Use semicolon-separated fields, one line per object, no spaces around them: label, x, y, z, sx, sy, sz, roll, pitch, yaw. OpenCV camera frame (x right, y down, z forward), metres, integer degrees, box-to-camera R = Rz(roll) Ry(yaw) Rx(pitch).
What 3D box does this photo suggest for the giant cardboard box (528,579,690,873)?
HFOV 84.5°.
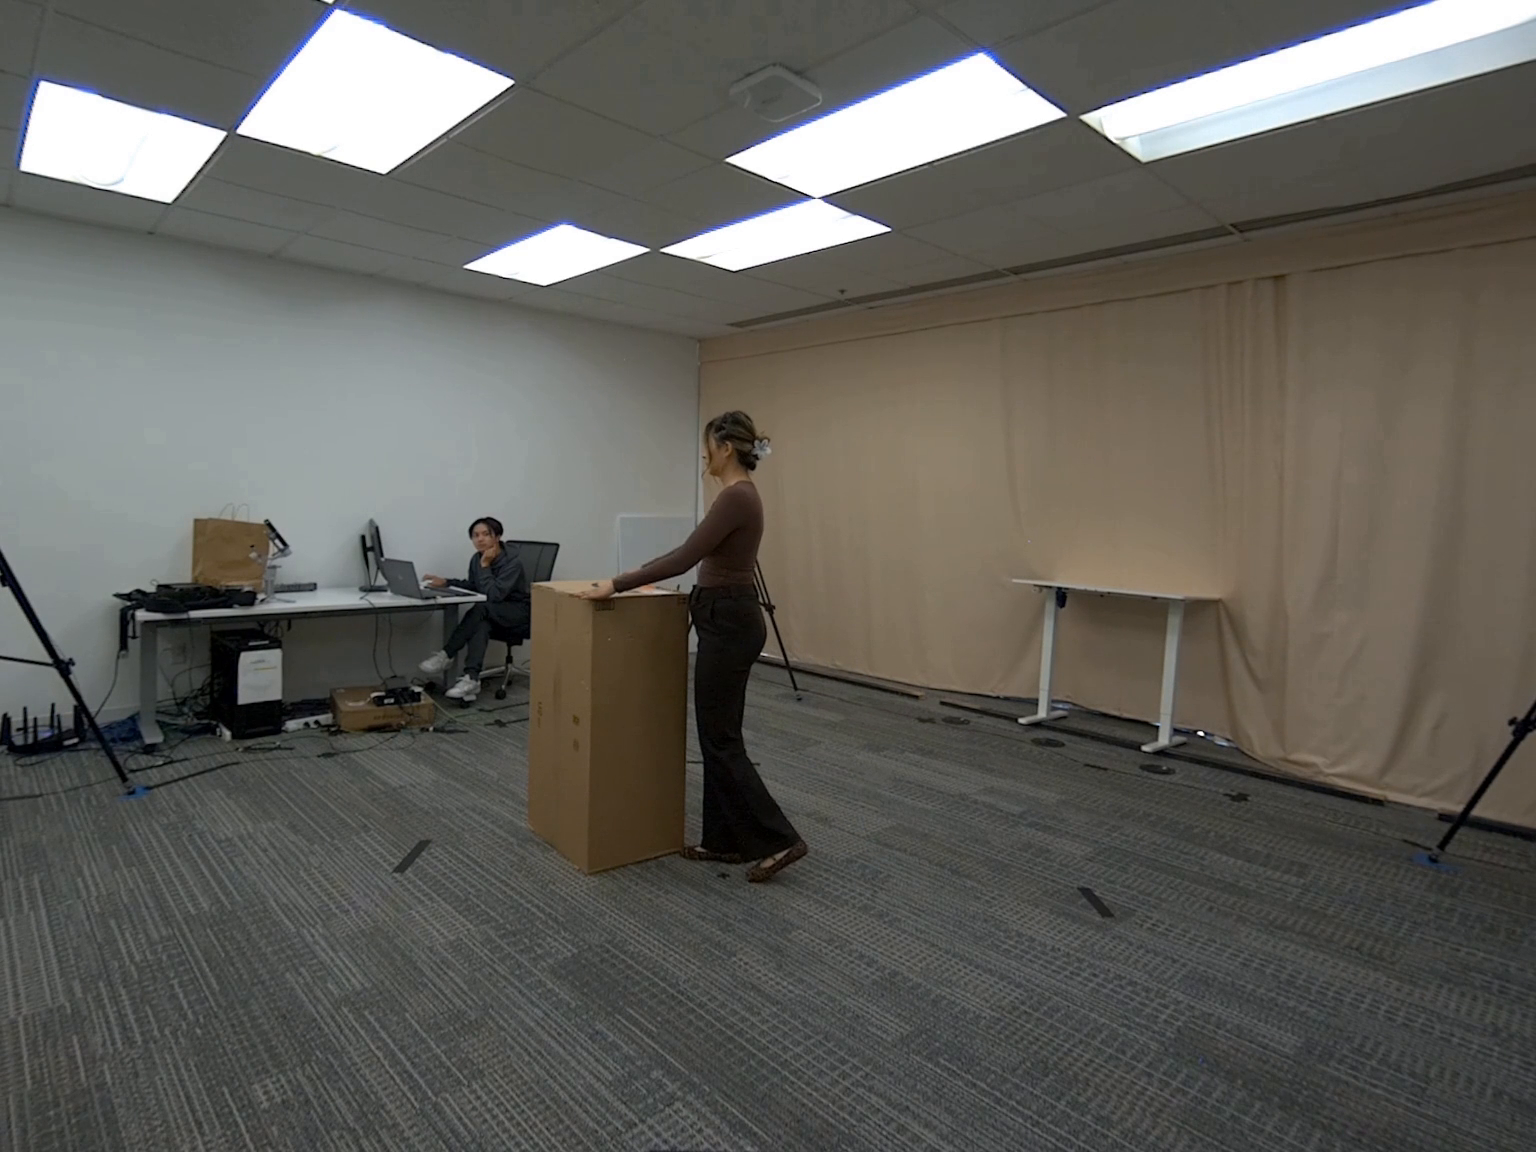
giant cardboard box;-0.665;0.557;3.411;0.437;1.025;0.598;0;4;-35
